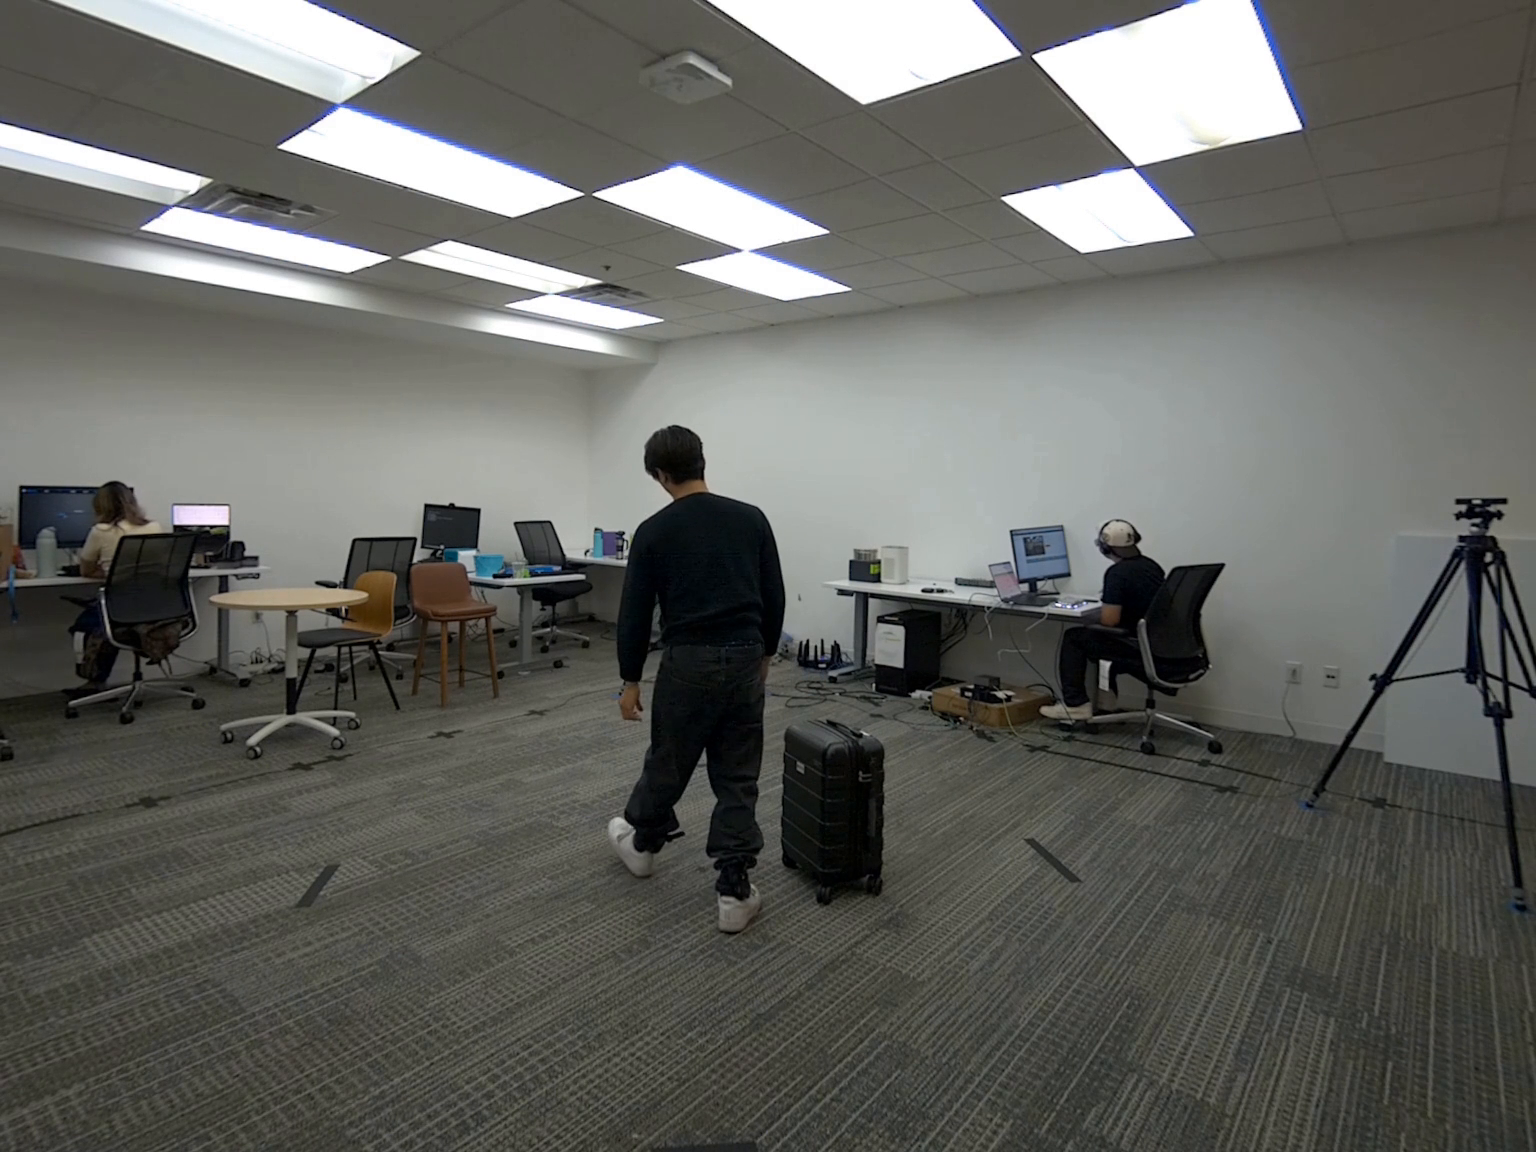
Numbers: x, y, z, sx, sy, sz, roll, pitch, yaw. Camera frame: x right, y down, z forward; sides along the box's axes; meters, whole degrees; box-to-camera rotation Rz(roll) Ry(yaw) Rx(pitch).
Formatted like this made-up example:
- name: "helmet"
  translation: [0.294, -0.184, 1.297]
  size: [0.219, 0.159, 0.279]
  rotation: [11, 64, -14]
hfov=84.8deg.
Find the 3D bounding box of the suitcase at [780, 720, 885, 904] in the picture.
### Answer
- name: "suitcase"
  translation: [0.219, 0.805, 3.053]
  size: [0.242, 0.547, 0.386]
  rotation: [-2, 4, -27]
